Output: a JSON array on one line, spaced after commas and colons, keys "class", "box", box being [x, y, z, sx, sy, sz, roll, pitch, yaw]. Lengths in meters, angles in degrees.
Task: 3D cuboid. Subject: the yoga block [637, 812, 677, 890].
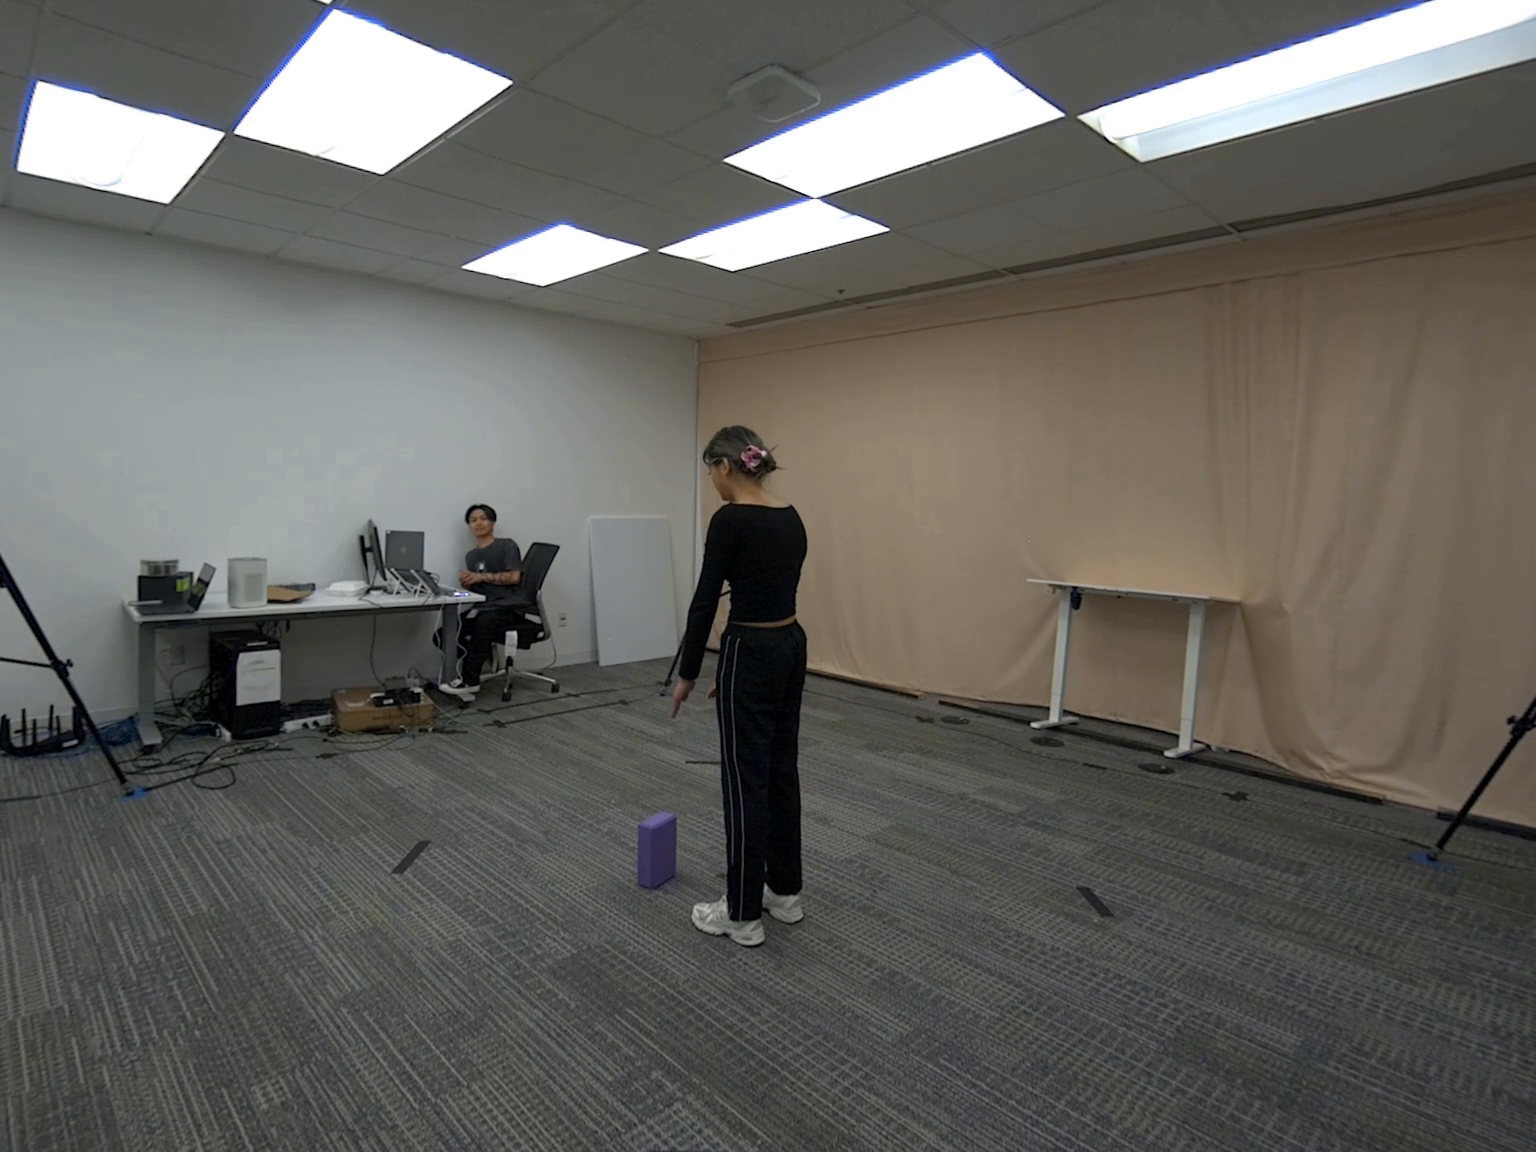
[{"class": "yoga block", "box": [-0.409, 0.992, 3.043, 0.078, 0.229, 0.146, 3, 4, 30]}]
